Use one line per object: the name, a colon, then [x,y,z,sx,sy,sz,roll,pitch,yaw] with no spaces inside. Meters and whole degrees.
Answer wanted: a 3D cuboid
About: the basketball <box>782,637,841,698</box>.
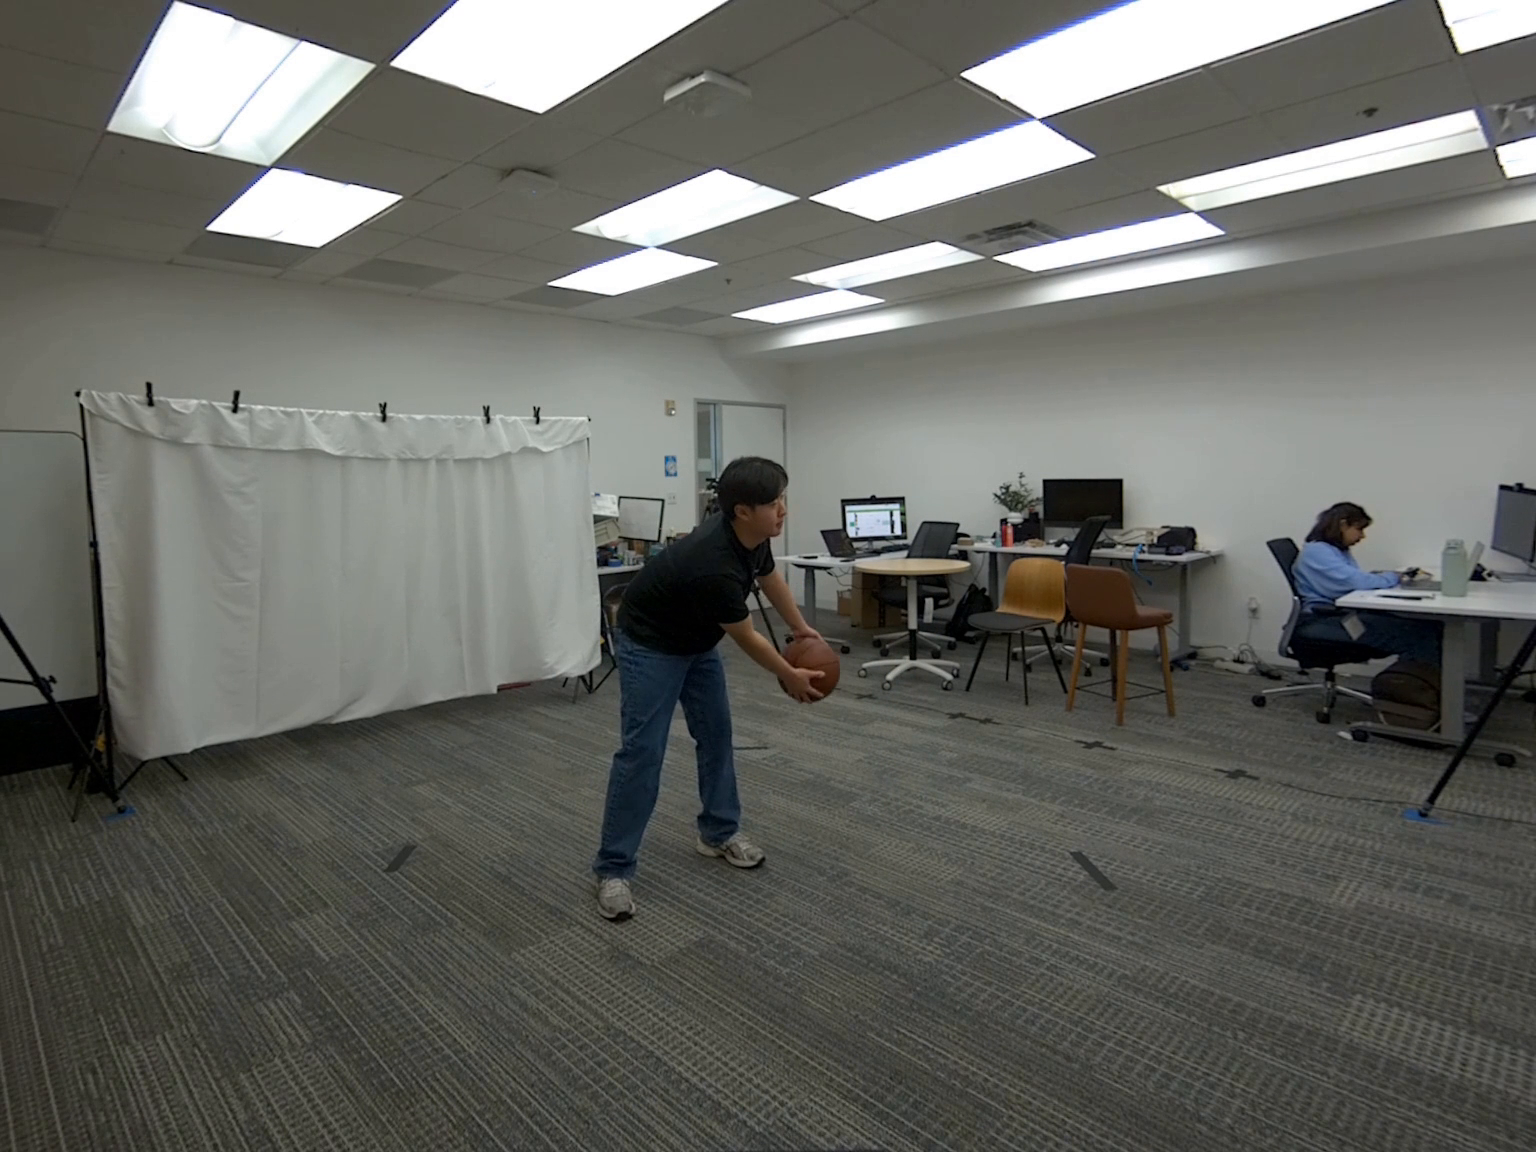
basketball: [0.145,0.347,3.179,0.236,0.235,0.237,-1,5,-2]
